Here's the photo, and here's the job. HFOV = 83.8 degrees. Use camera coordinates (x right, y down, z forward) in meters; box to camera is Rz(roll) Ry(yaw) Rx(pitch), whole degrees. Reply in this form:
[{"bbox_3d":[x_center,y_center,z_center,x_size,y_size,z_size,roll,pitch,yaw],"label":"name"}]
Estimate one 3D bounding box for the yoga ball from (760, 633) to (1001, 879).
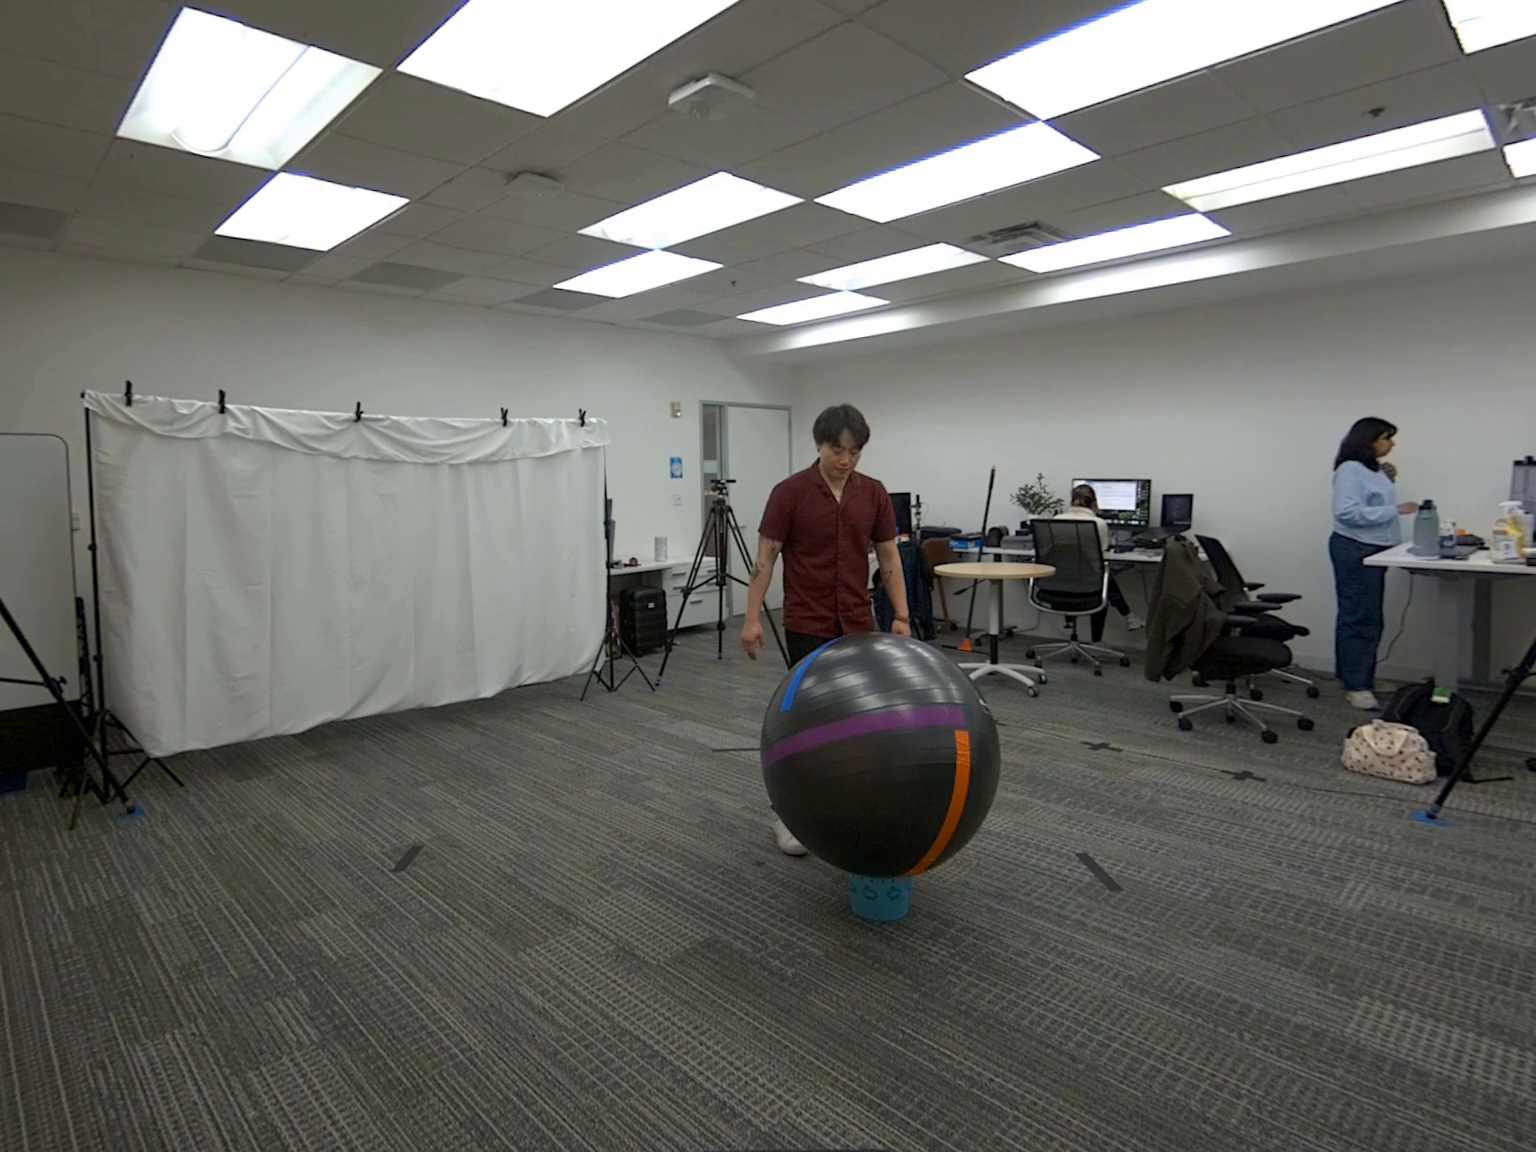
[{"bbox_3d":[0.356,0.570,2.751,0.757,0.755,0.762,-1,5,-2],"label":"yoga ball"}]
